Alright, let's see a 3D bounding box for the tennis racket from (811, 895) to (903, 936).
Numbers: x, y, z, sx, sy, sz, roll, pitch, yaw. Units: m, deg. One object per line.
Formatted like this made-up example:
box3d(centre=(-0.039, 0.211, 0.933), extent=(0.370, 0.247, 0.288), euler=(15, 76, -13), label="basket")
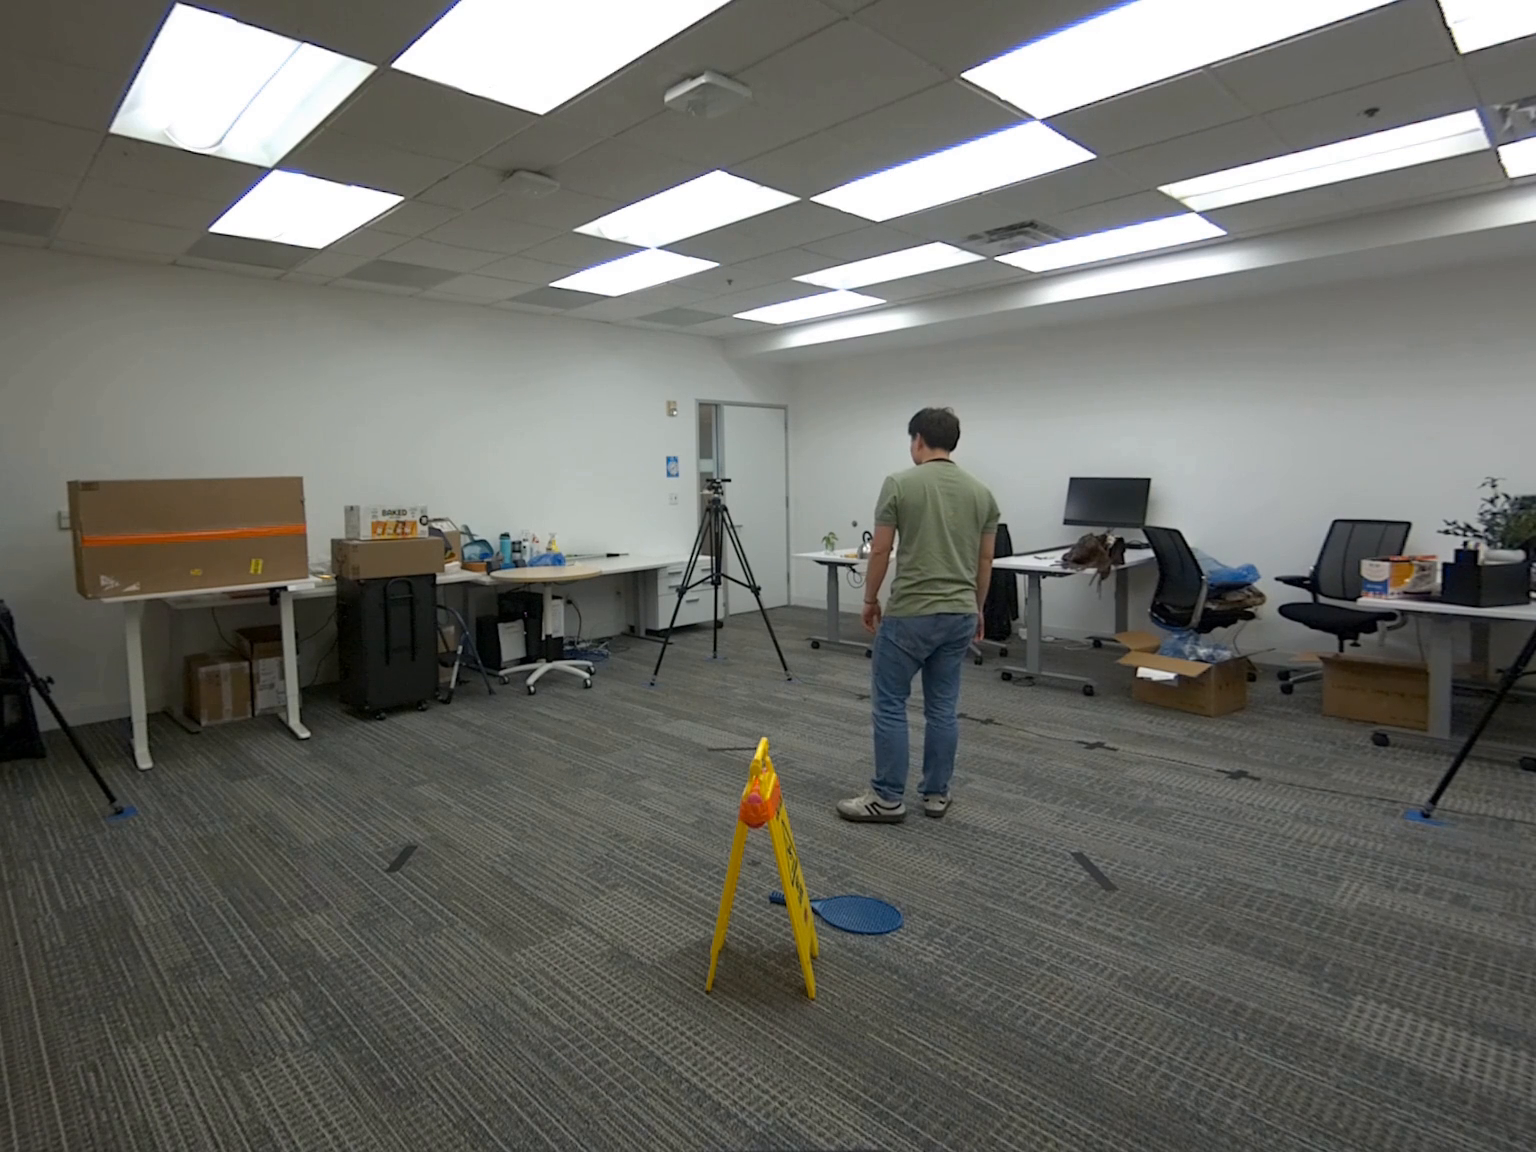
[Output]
box3d(centre=(0.217, 1.069, 2.741), extent=(0.441, 0.031, 0.211), euler=(3, 7, 20), label="tennis racket")
